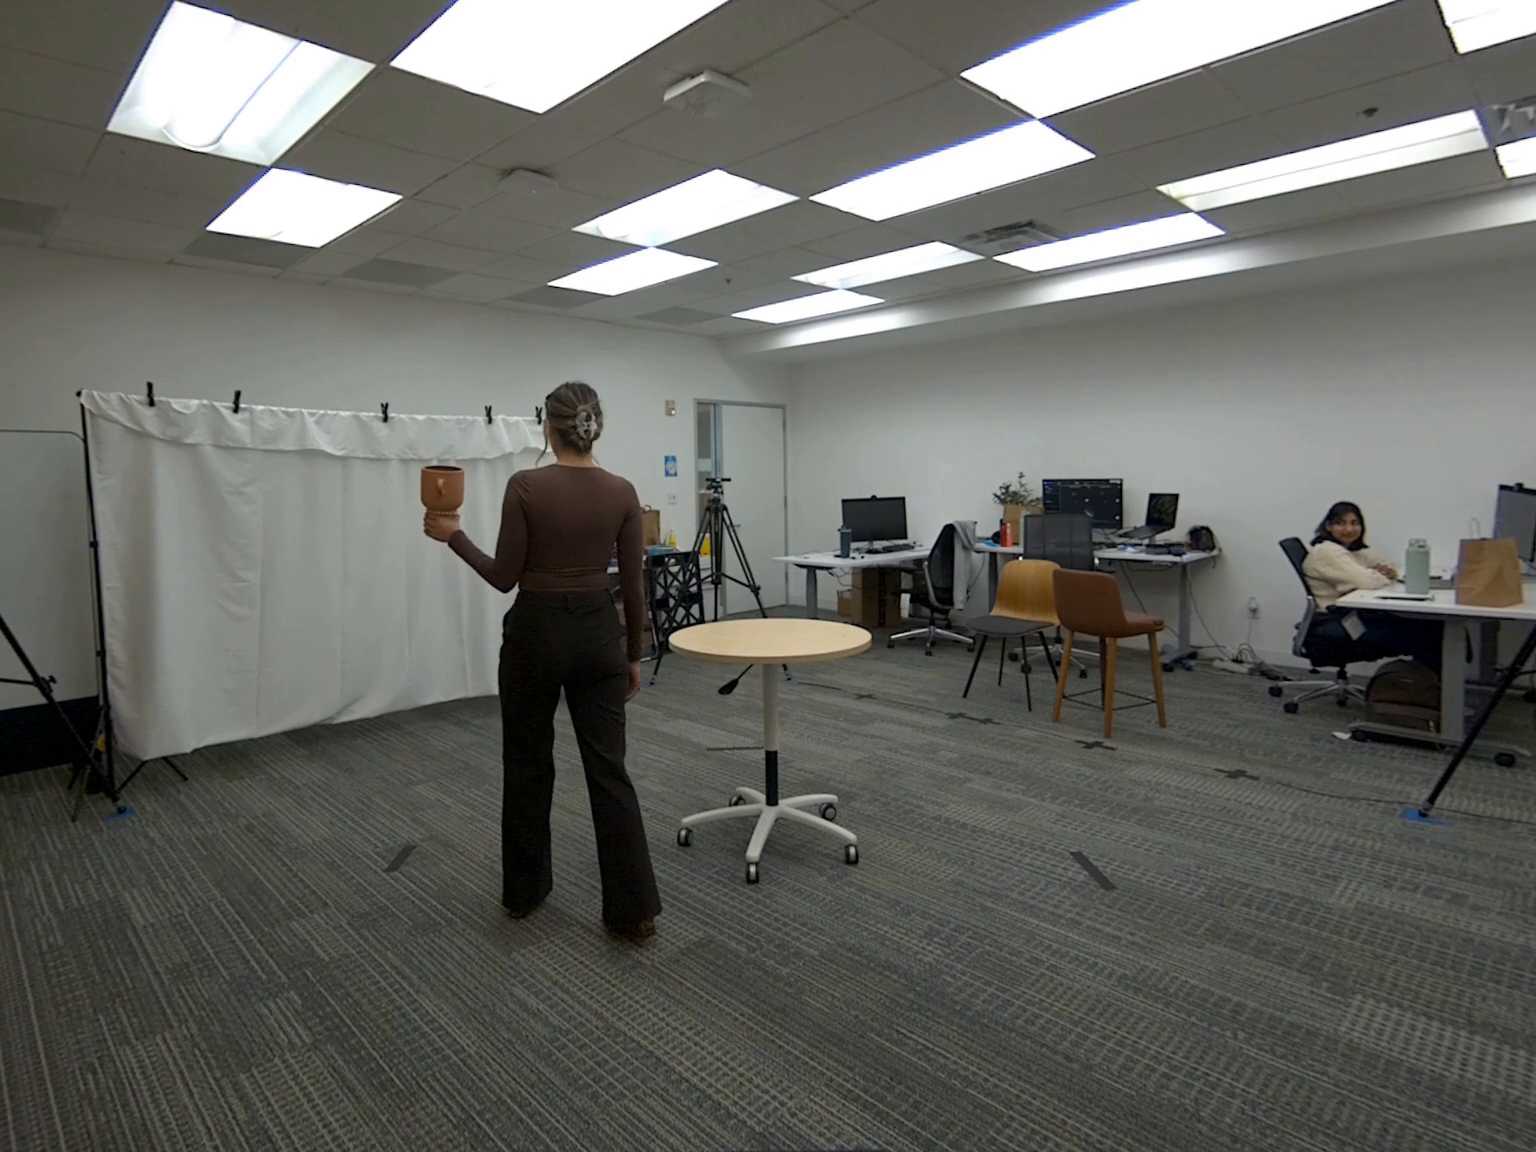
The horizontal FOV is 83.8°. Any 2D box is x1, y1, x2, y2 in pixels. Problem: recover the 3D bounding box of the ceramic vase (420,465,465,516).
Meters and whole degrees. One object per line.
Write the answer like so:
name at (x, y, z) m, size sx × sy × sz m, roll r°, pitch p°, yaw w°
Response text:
ceramic vase at (-1.036, -0.238, 2.734) m, size 0.138 × 0.218 × 0.156 m, roll 10°, pitch 12°, yaw 24°
